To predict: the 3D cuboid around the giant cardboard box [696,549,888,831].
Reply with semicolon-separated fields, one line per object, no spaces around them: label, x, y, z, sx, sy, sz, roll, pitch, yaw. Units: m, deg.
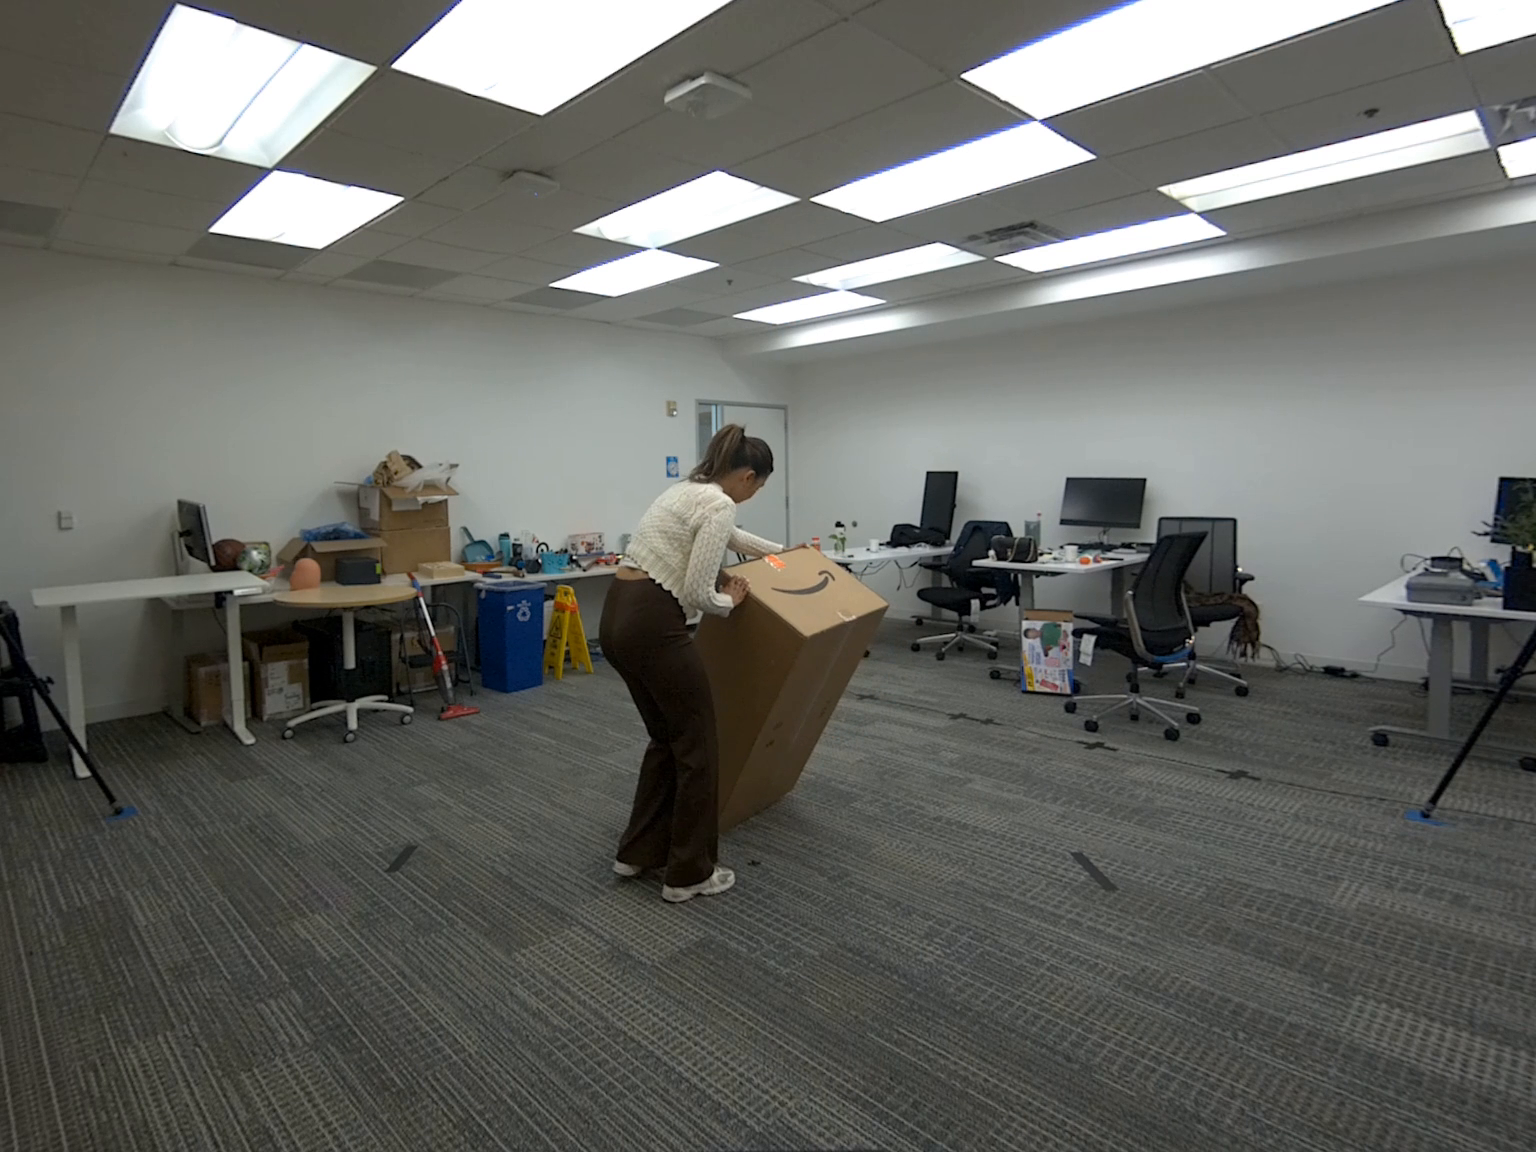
giant cardboard box;-0.027;0.456;3.406;0.440;1.014;0.565;38;30;27
